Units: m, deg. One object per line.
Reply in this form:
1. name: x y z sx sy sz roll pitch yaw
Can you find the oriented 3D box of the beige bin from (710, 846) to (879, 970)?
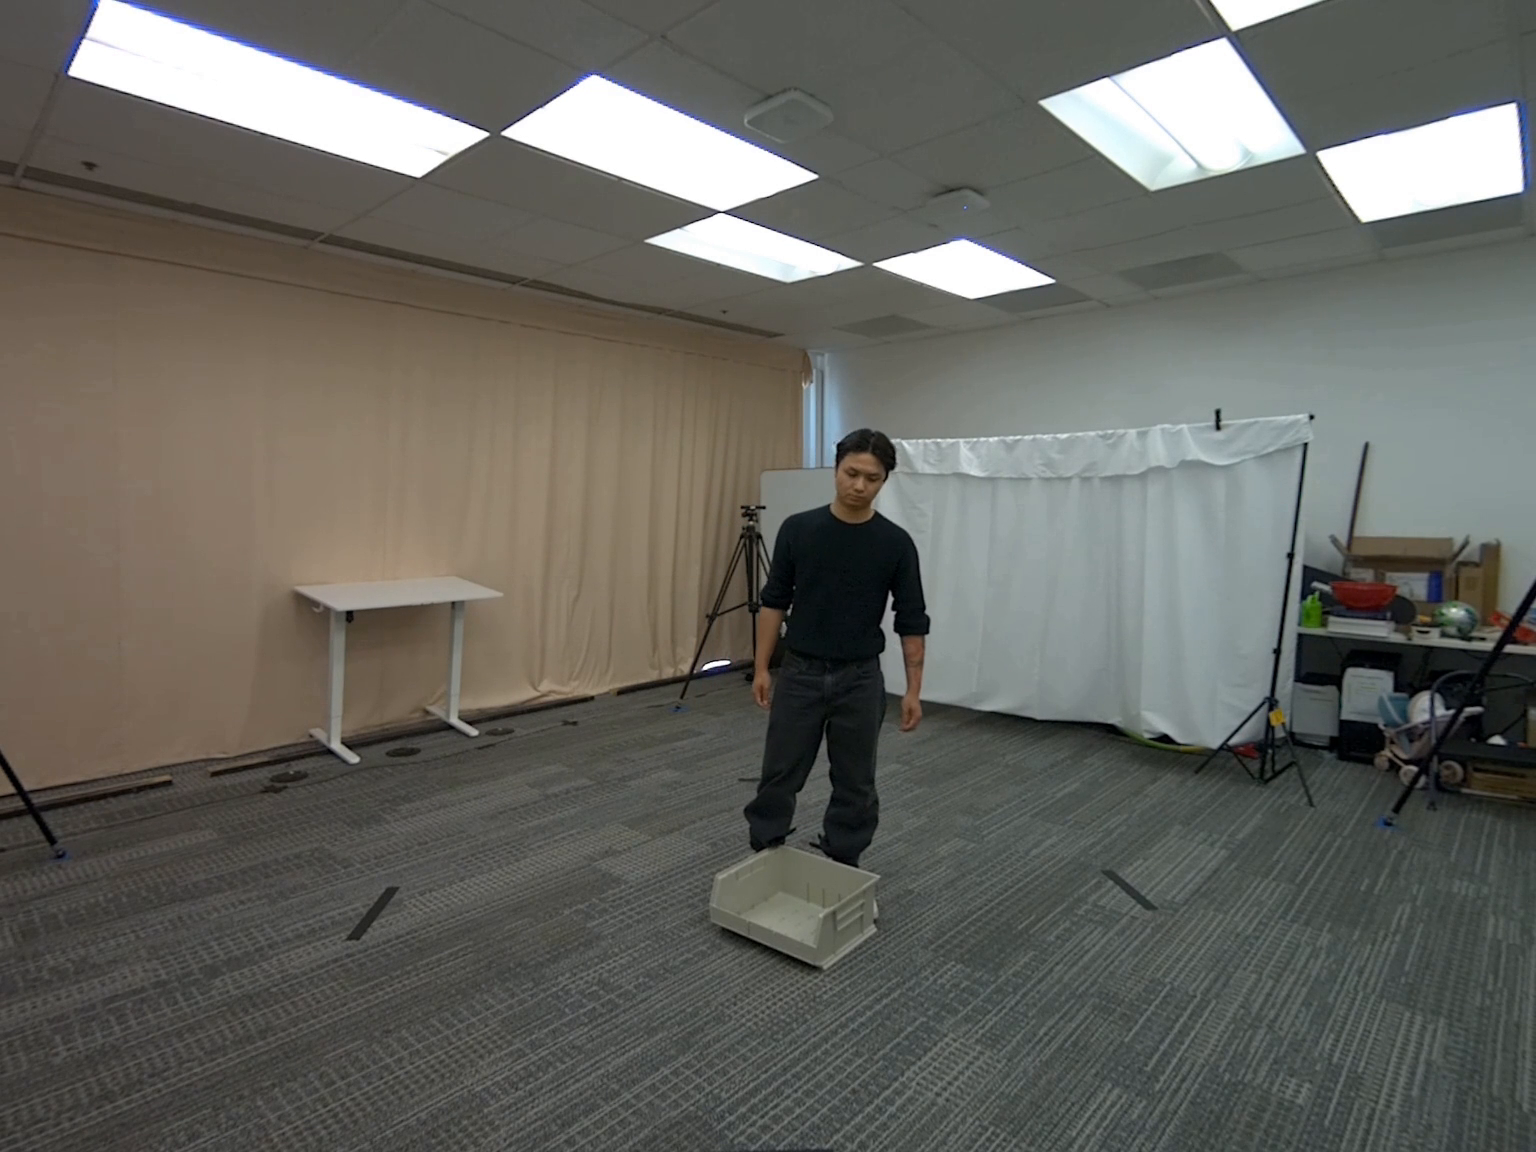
1. beige bin: 0.091 1.076 2.749 0.436 0.189 0.366 2 3 39
